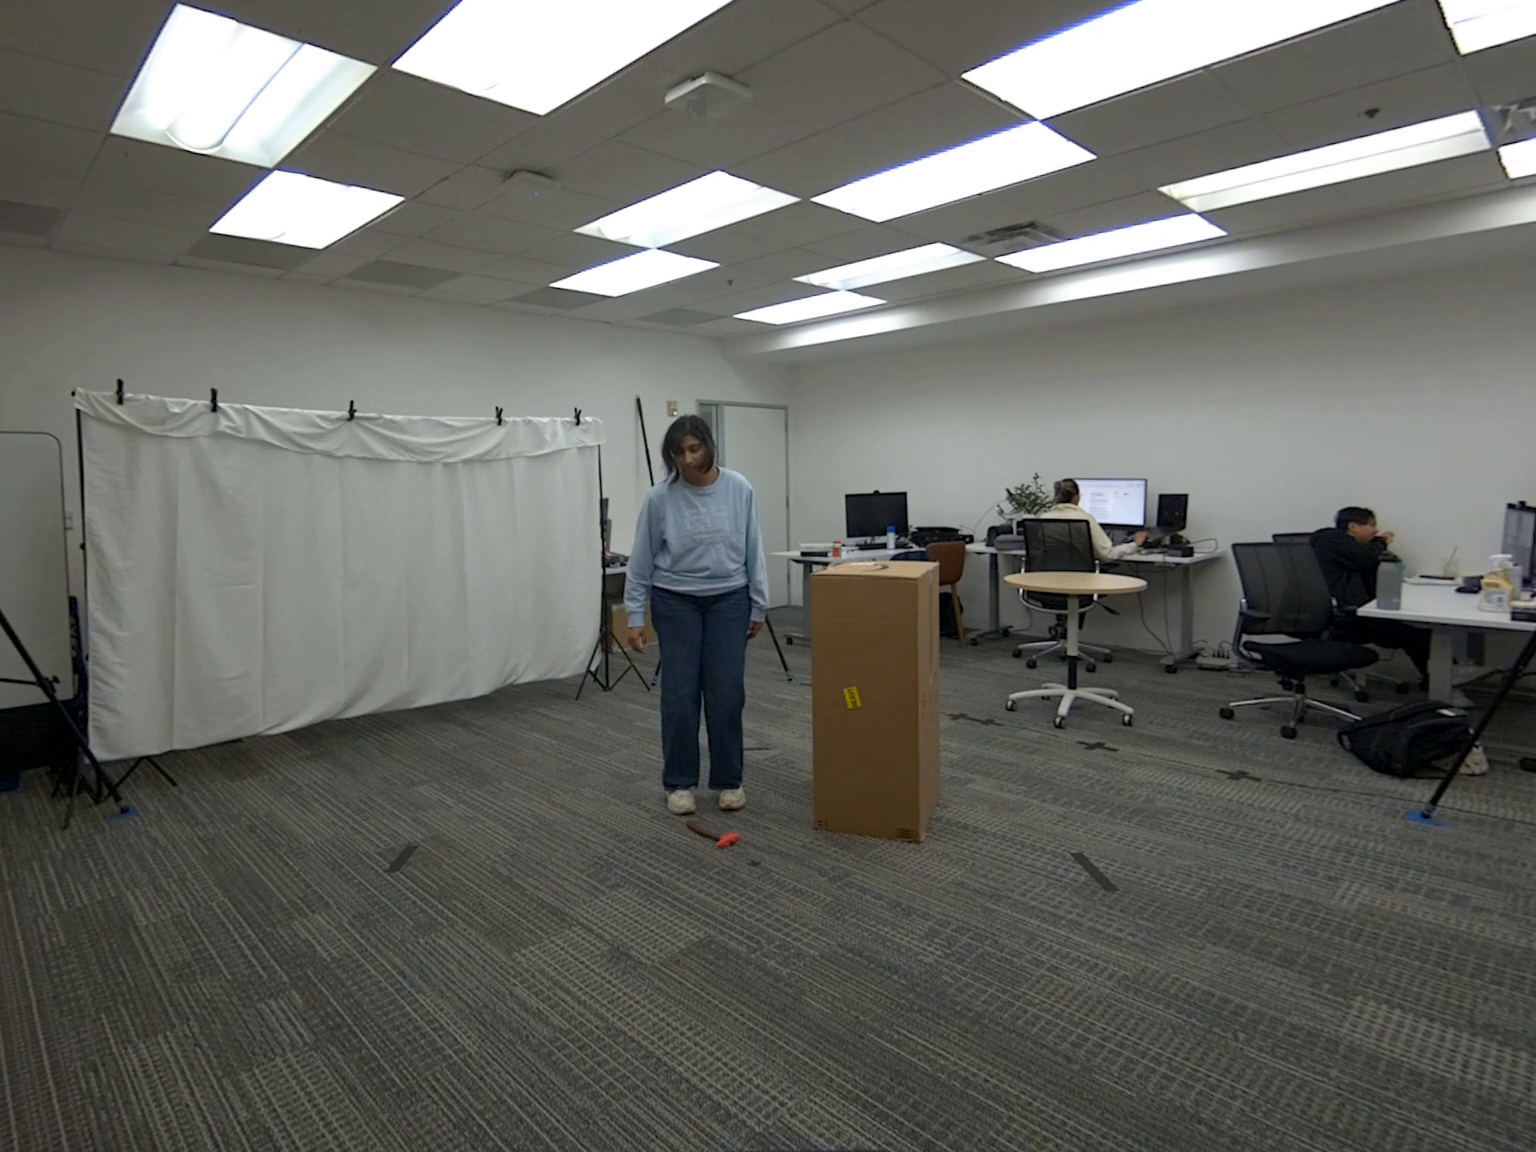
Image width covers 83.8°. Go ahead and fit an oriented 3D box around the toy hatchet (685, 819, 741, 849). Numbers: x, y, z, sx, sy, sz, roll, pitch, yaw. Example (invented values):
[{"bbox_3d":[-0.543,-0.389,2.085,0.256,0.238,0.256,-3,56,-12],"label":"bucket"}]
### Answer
[{"bbox_3d":[-0.212,1.014,3.365,0.128,0.029,0.278,-5,6,-32],"label":"toy hatchet"}]
